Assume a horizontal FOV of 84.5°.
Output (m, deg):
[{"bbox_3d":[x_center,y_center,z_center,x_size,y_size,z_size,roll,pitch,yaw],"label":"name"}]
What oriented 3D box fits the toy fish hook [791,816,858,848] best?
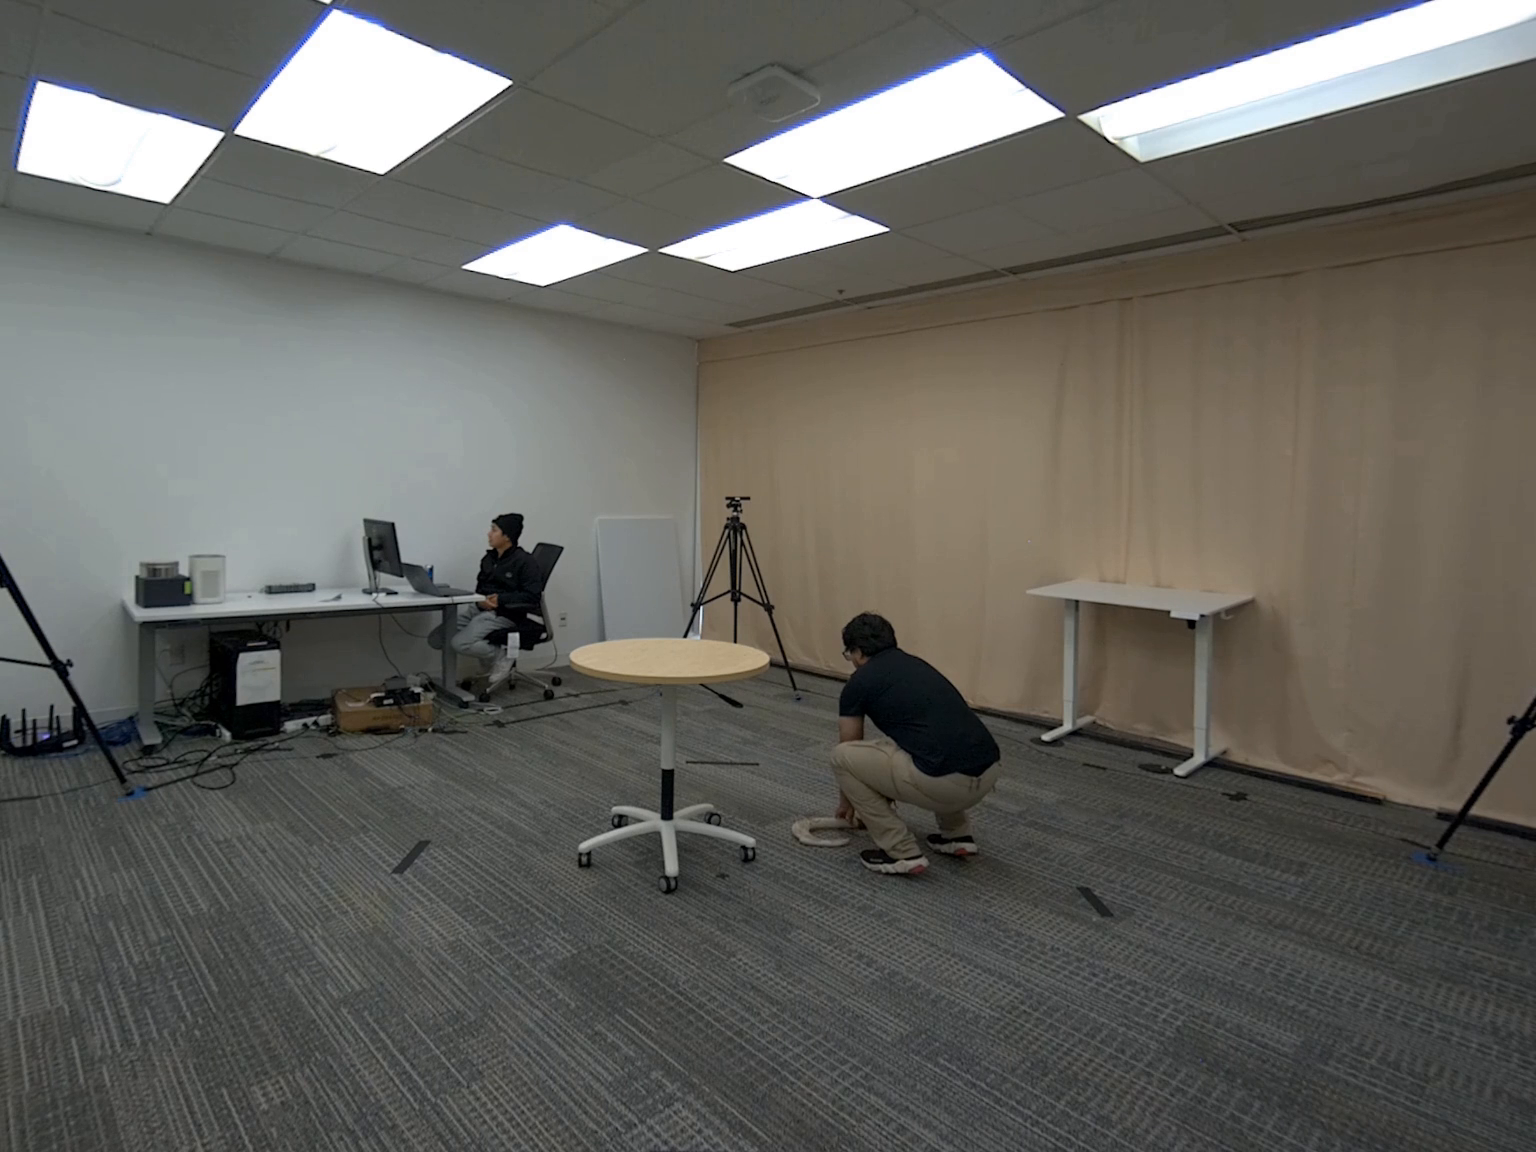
[{"bbox_3d":[0.343,1.062,3.532,0.498,0.048,0.230,-2,15,-22],"label":"toy fish hook"}]
